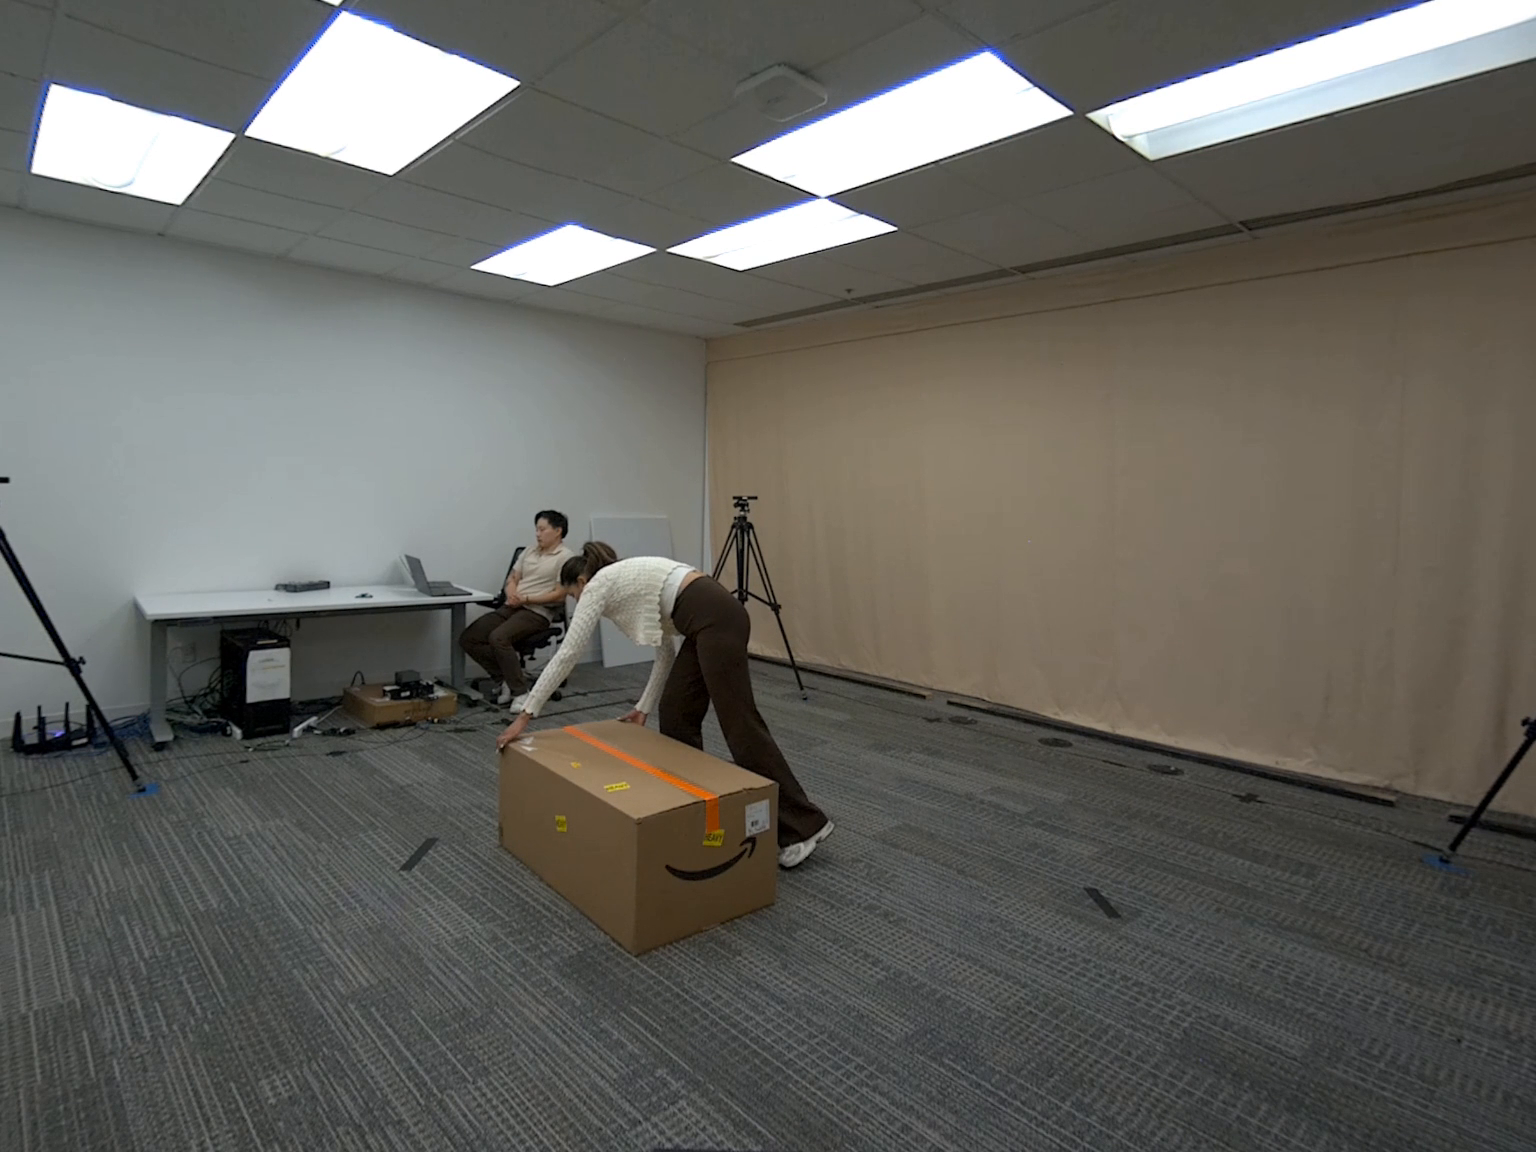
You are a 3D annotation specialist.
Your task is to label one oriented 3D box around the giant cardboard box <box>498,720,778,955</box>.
[{"bbox_3d":[-0.520,0.882,3.092,0.564,0.425,1.052,-2,6,-40],"label":"giant cardboard box"}]
